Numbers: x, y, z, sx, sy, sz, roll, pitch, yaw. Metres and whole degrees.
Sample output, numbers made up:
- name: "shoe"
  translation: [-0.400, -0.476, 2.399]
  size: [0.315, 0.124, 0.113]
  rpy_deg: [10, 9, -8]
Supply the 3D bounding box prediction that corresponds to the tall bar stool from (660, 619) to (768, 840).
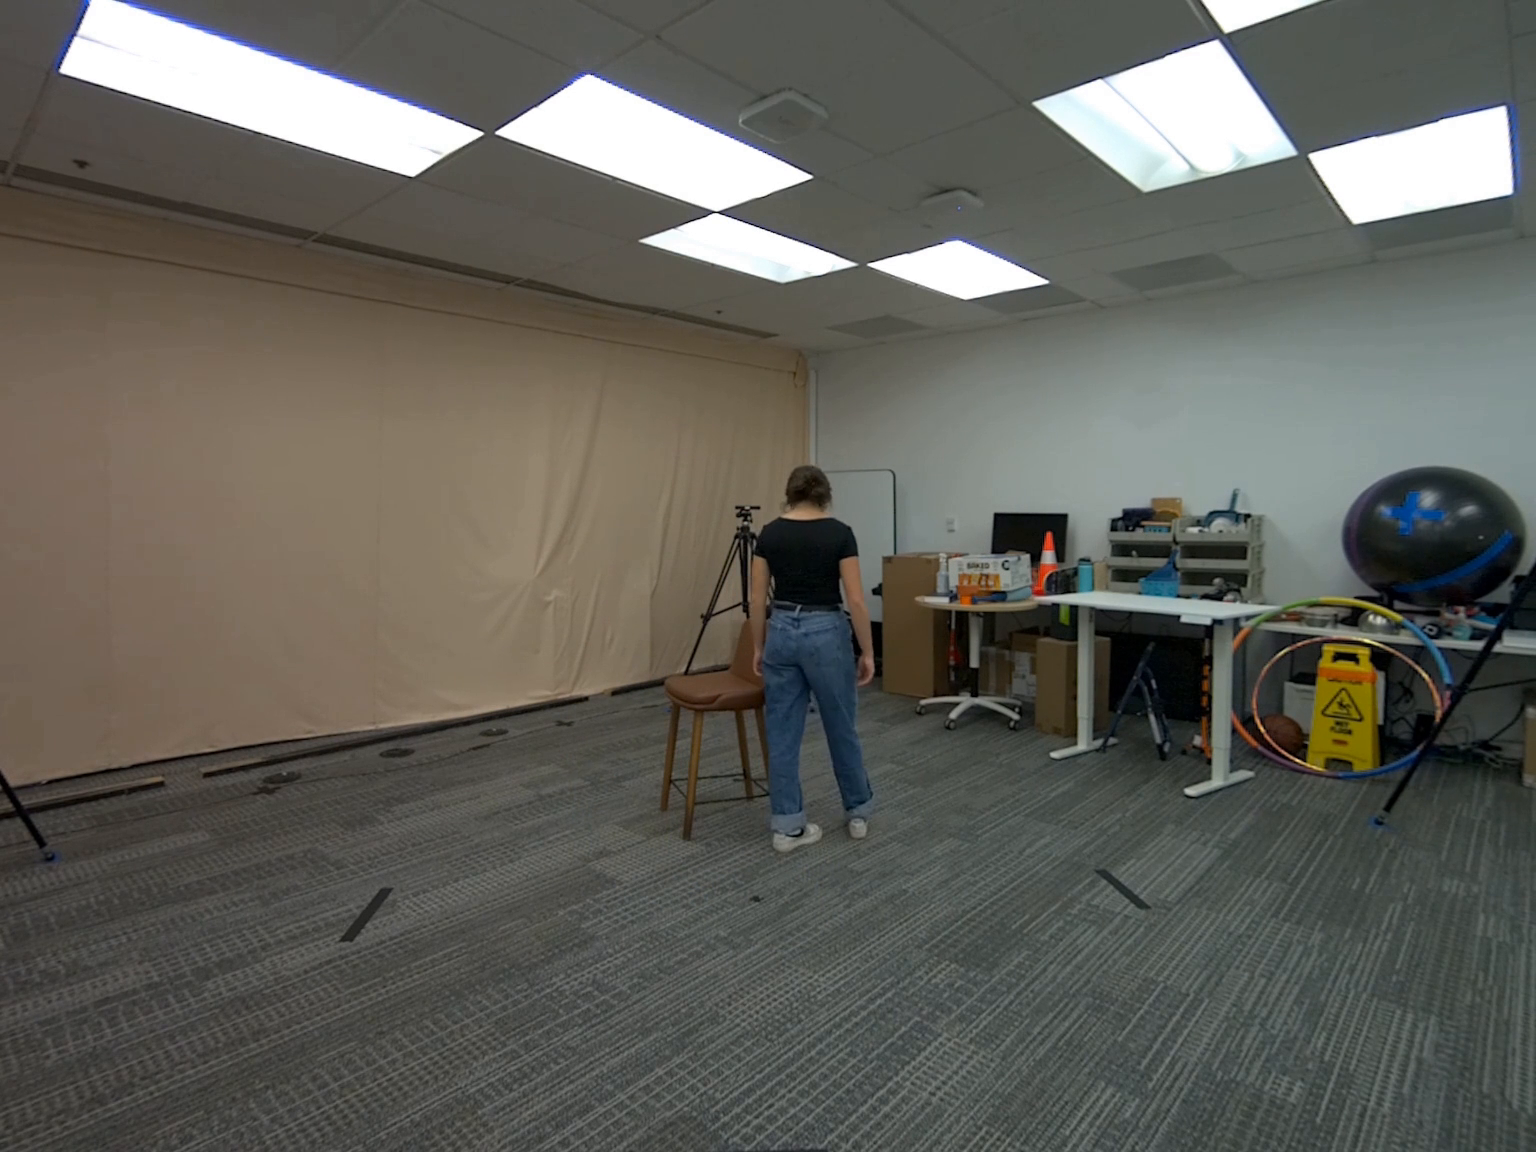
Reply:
- name: "tall bar stool"
  translation: [-0.212, 0.649, 3.745]
  size: [0.458, 0.888, 0.467]
  rpy_deg: [0, 3, -21]
